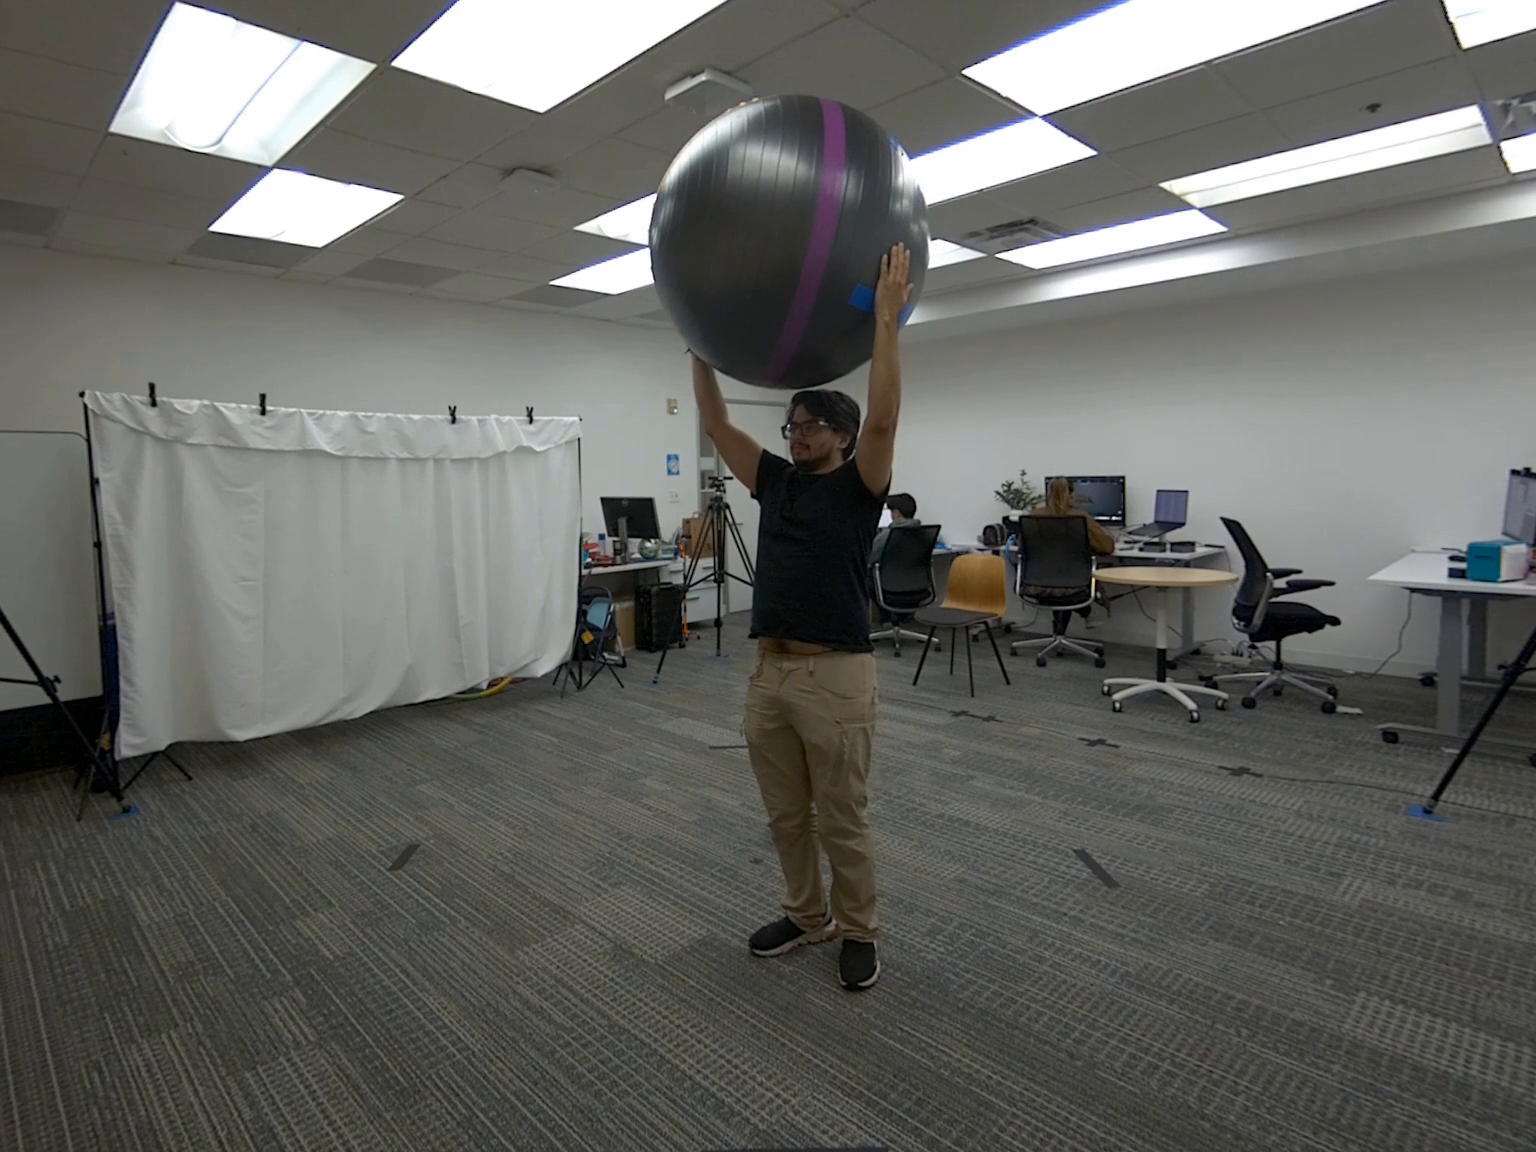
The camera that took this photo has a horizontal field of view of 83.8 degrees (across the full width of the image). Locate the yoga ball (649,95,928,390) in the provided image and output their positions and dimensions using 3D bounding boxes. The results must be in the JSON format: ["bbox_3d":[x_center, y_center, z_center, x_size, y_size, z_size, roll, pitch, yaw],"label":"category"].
[{"bbox_3d":[0.054,-0.892,2.332,0.757,0.755,0.762,-1,5,-2],"label":"yoga ball"}]
